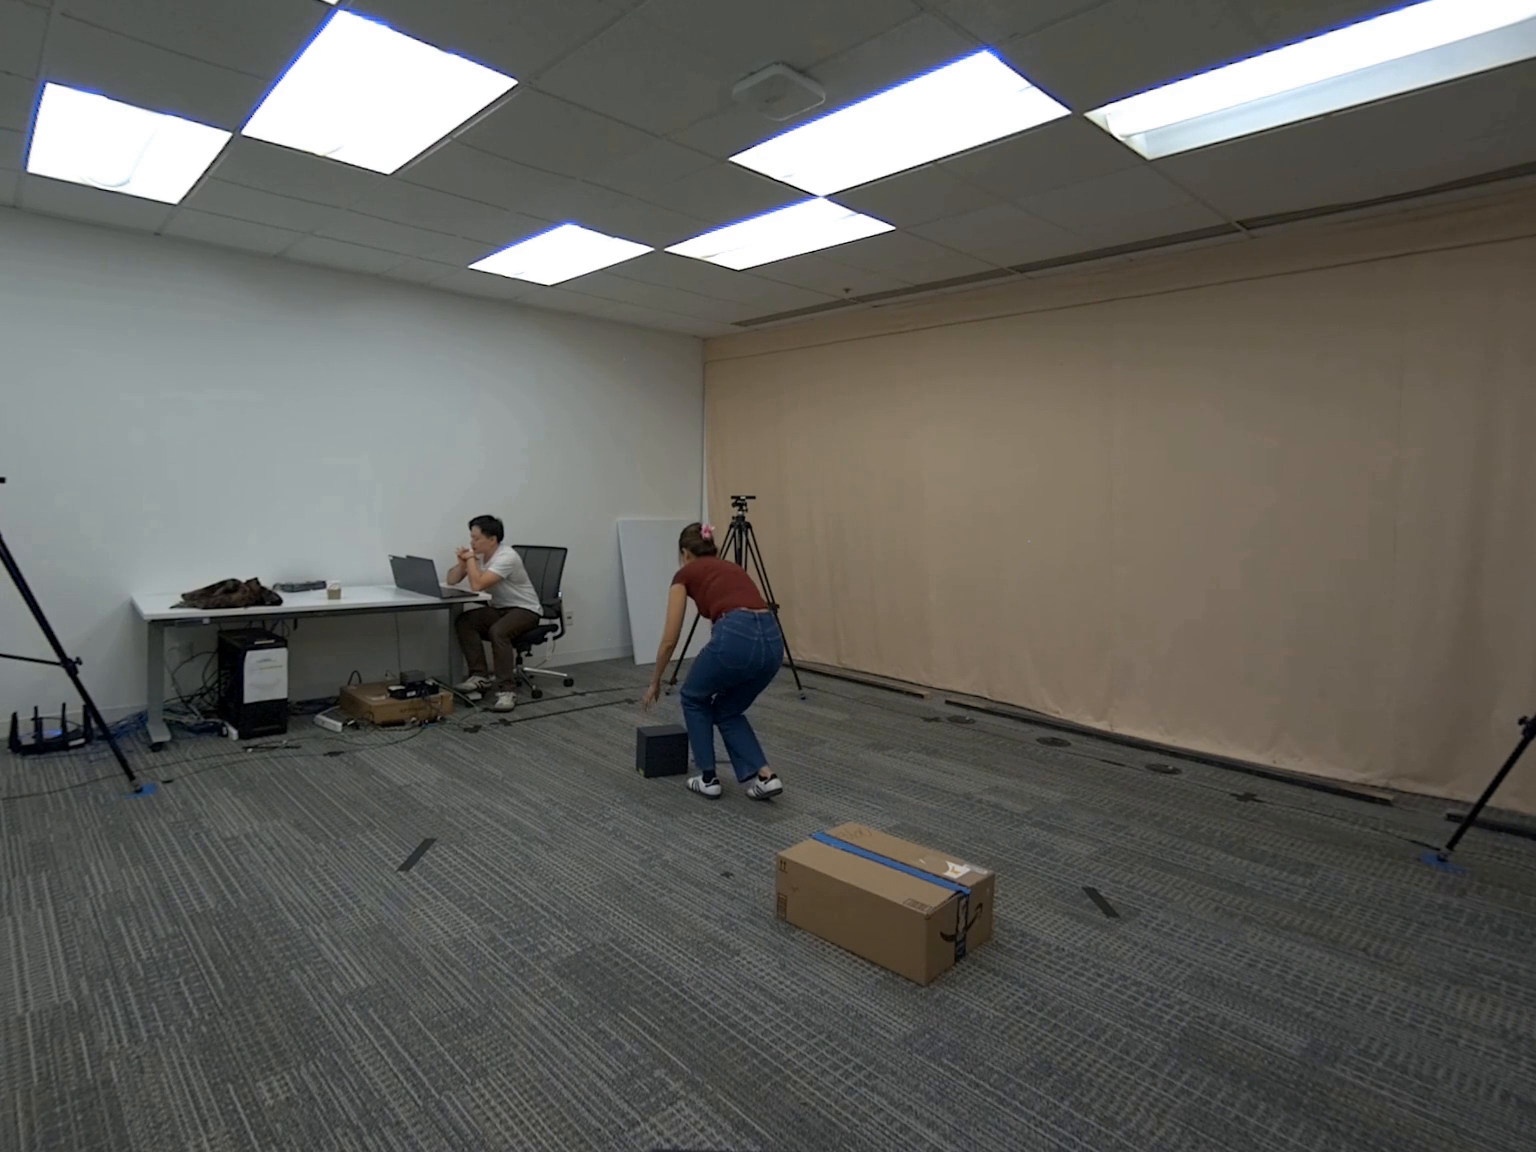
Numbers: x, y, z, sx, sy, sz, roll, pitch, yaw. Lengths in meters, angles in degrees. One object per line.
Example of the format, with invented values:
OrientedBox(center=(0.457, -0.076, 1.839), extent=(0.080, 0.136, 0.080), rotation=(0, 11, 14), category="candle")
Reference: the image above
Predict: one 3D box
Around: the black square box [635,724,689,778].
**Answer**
OrientedBox(center=(-0.543, 0.872, 4.252), extent=(0.224, 0.216, 0.159), rotation=(-2, 6, -26), category="black square box")
